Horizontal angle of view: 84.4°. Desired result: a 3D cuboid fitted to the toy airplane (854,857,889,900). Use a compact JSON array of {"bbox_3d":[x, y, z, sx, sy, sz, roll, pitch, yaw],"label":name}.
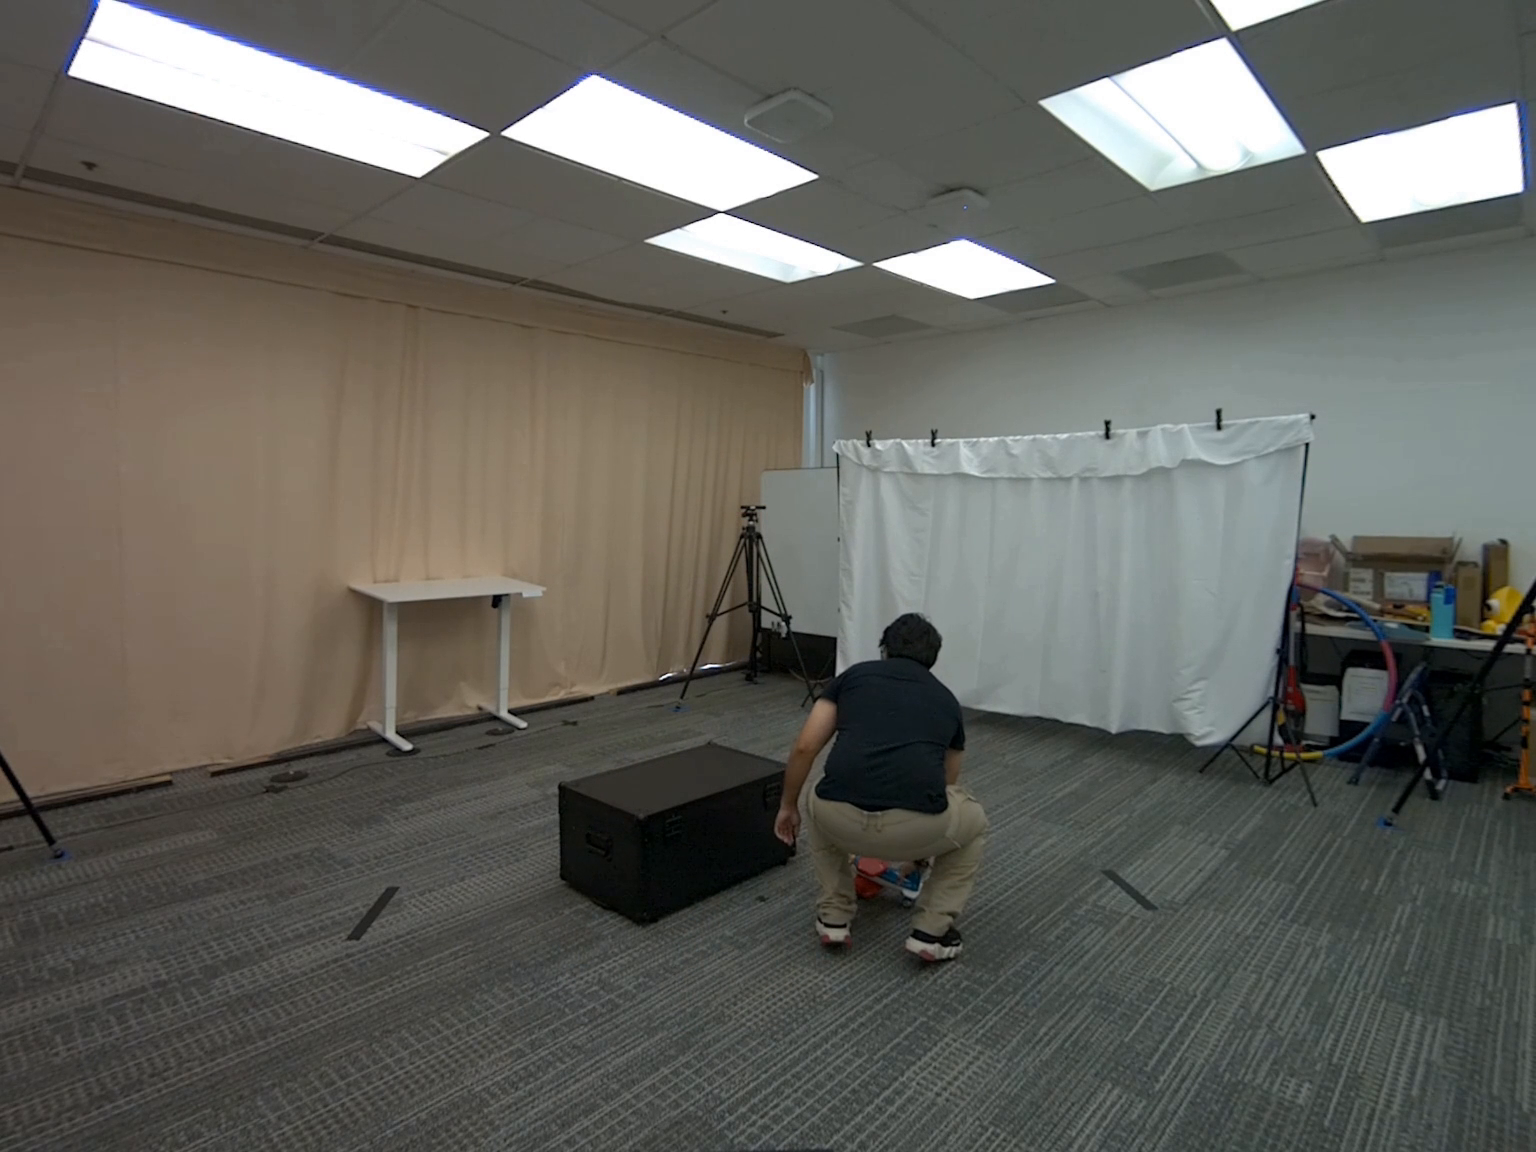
[{"bbox_3d":[0.420,1.068,2.992,0.260,0.156,0.251,-2,4,1],"label":"toy airplane"}]
